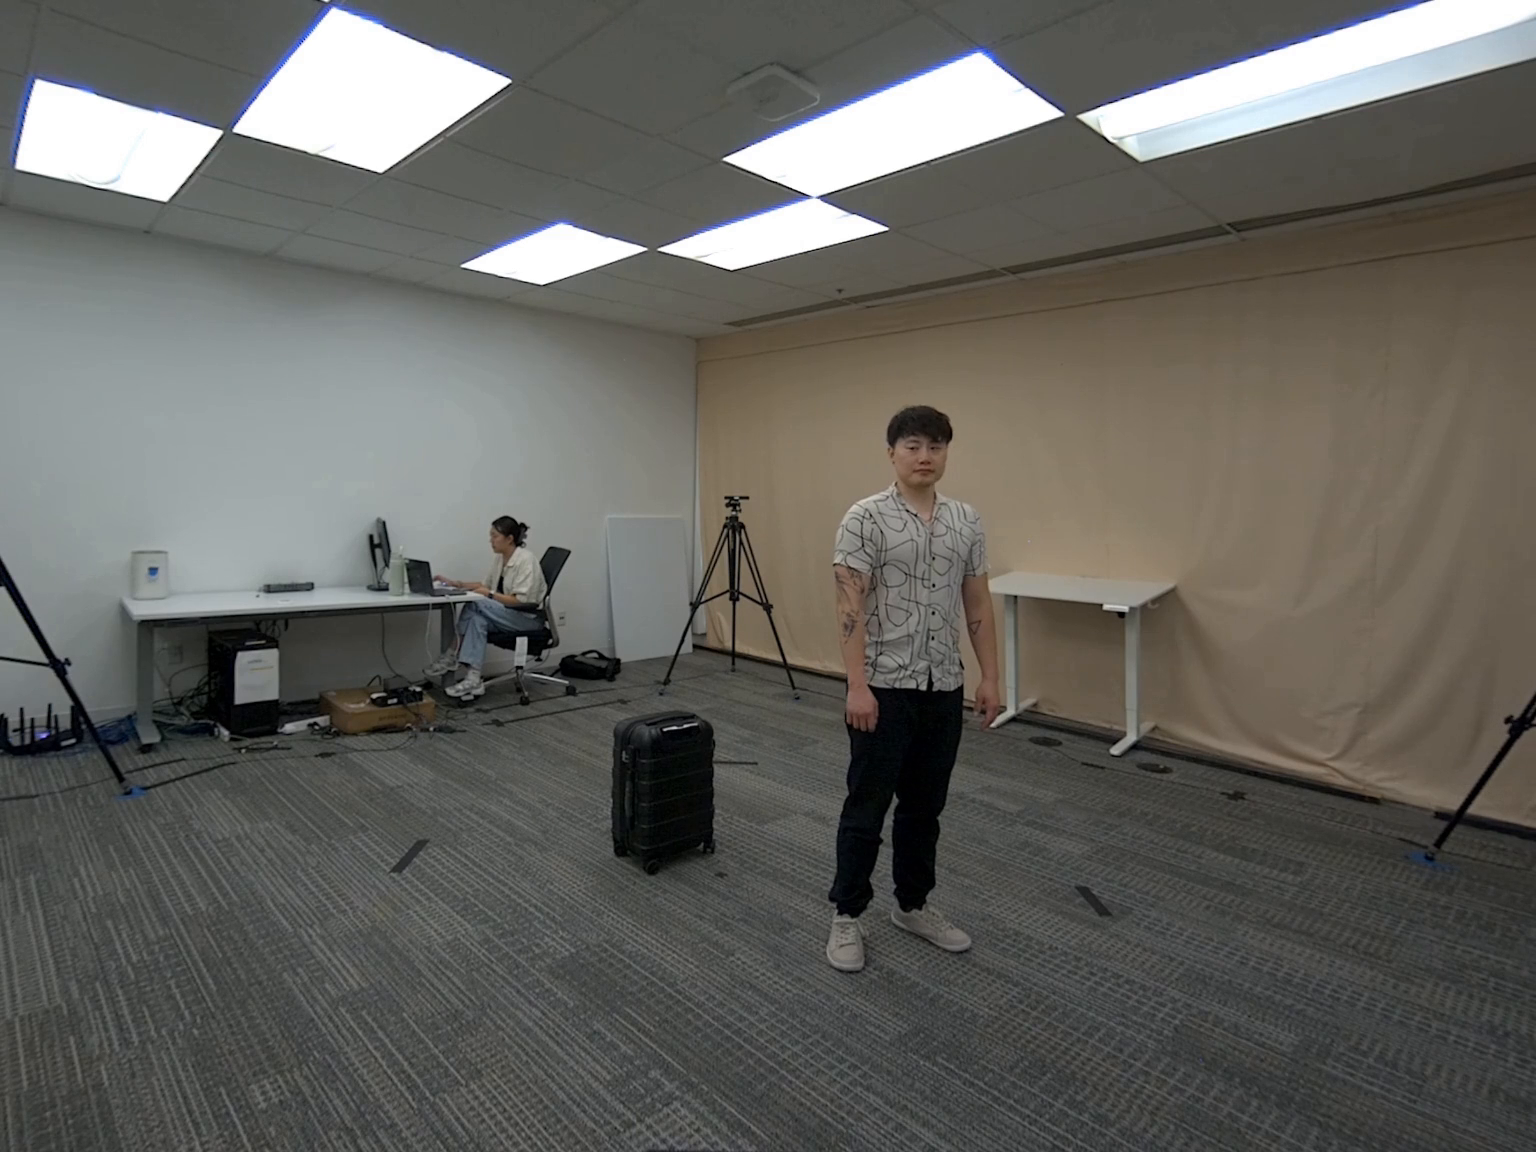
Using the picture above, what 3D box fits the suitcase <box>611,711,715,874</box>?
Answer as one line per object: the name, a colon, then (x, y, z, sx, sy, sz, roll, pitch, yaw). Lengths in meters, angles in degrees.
suitcase: (-0.414, 0.808, 3.250, 0.367, 0.548, 0.254, -3, 5, -41)
